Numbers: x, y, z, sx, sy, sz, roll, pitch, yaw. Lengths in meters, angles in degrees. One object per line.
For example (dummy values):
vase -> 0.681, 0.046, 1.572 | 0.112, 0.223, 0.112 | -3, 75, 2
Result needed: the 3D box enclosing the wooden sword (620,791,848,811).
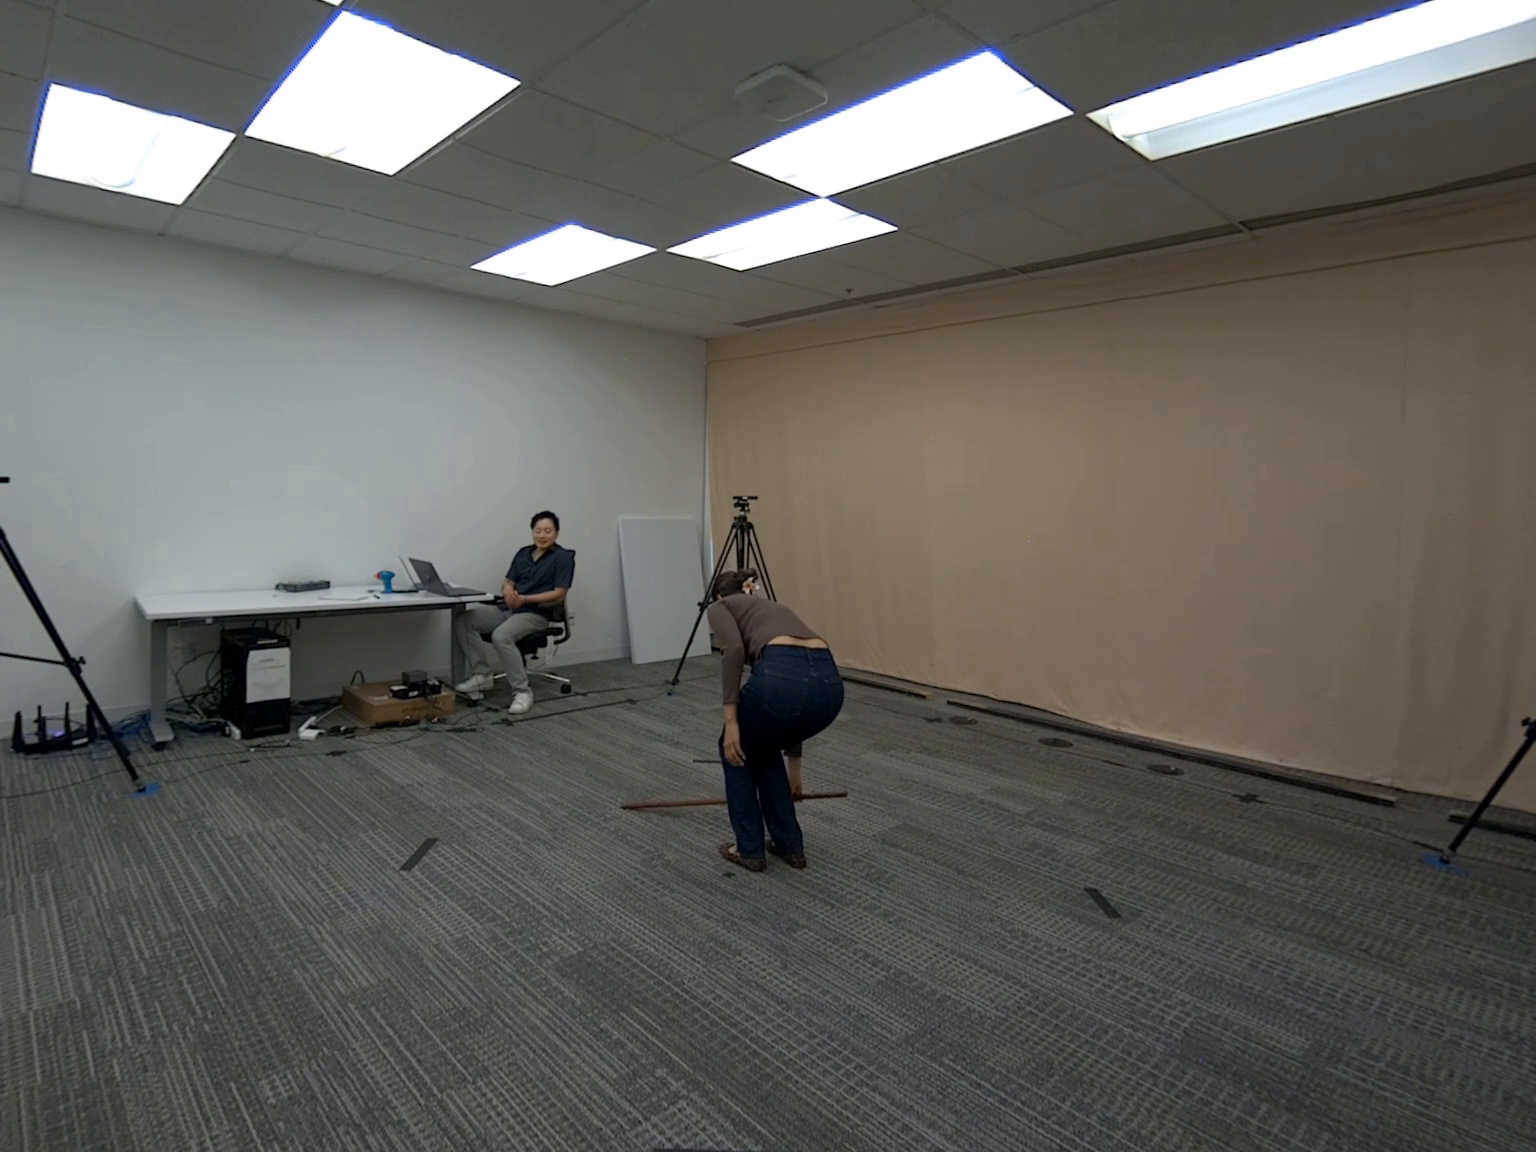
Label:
wooden sword -> -0.165, 0.954, 3.580 | 1.037, 0.052, 0.023 | -9, -27, 18
